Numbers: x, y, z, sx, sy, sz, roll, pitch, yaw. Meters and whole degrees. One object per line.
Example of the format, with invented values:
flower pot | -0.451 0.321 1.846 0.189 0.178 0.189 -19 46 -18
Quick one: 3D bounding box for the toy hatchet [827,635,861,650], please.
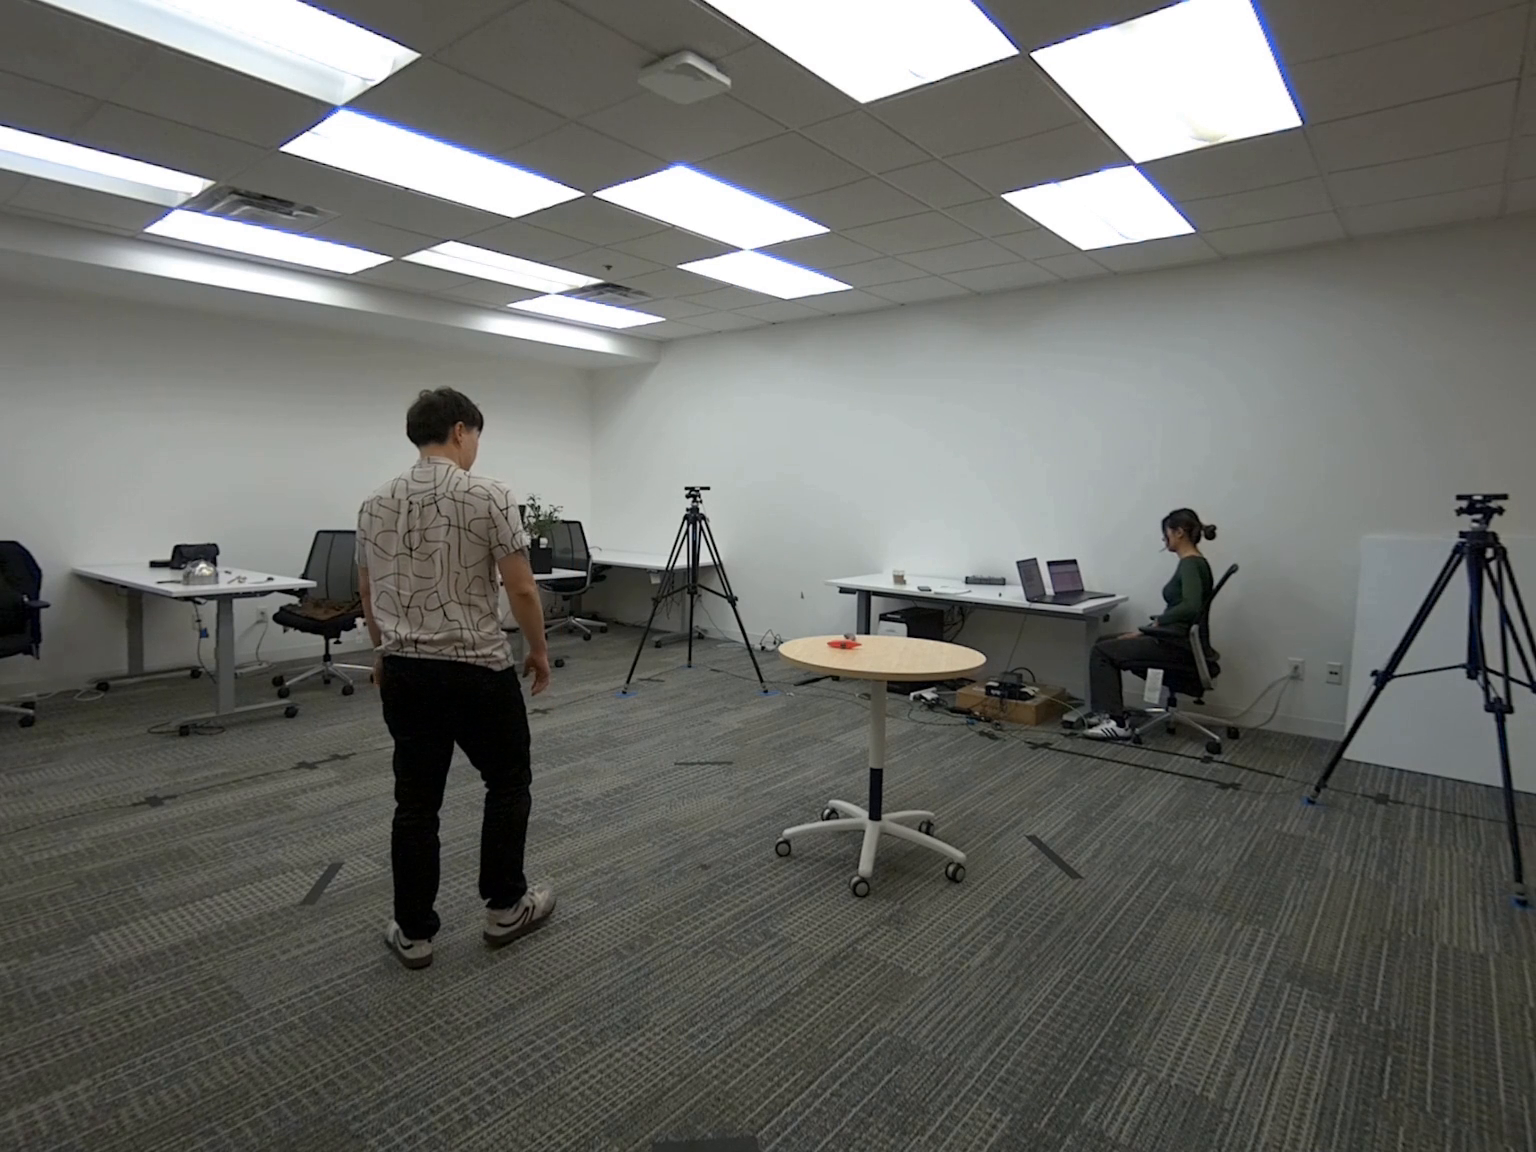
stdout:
toy hatchet | 0.291 0.256 3.391 0.131 0.029 0.271 -2 4 -2
